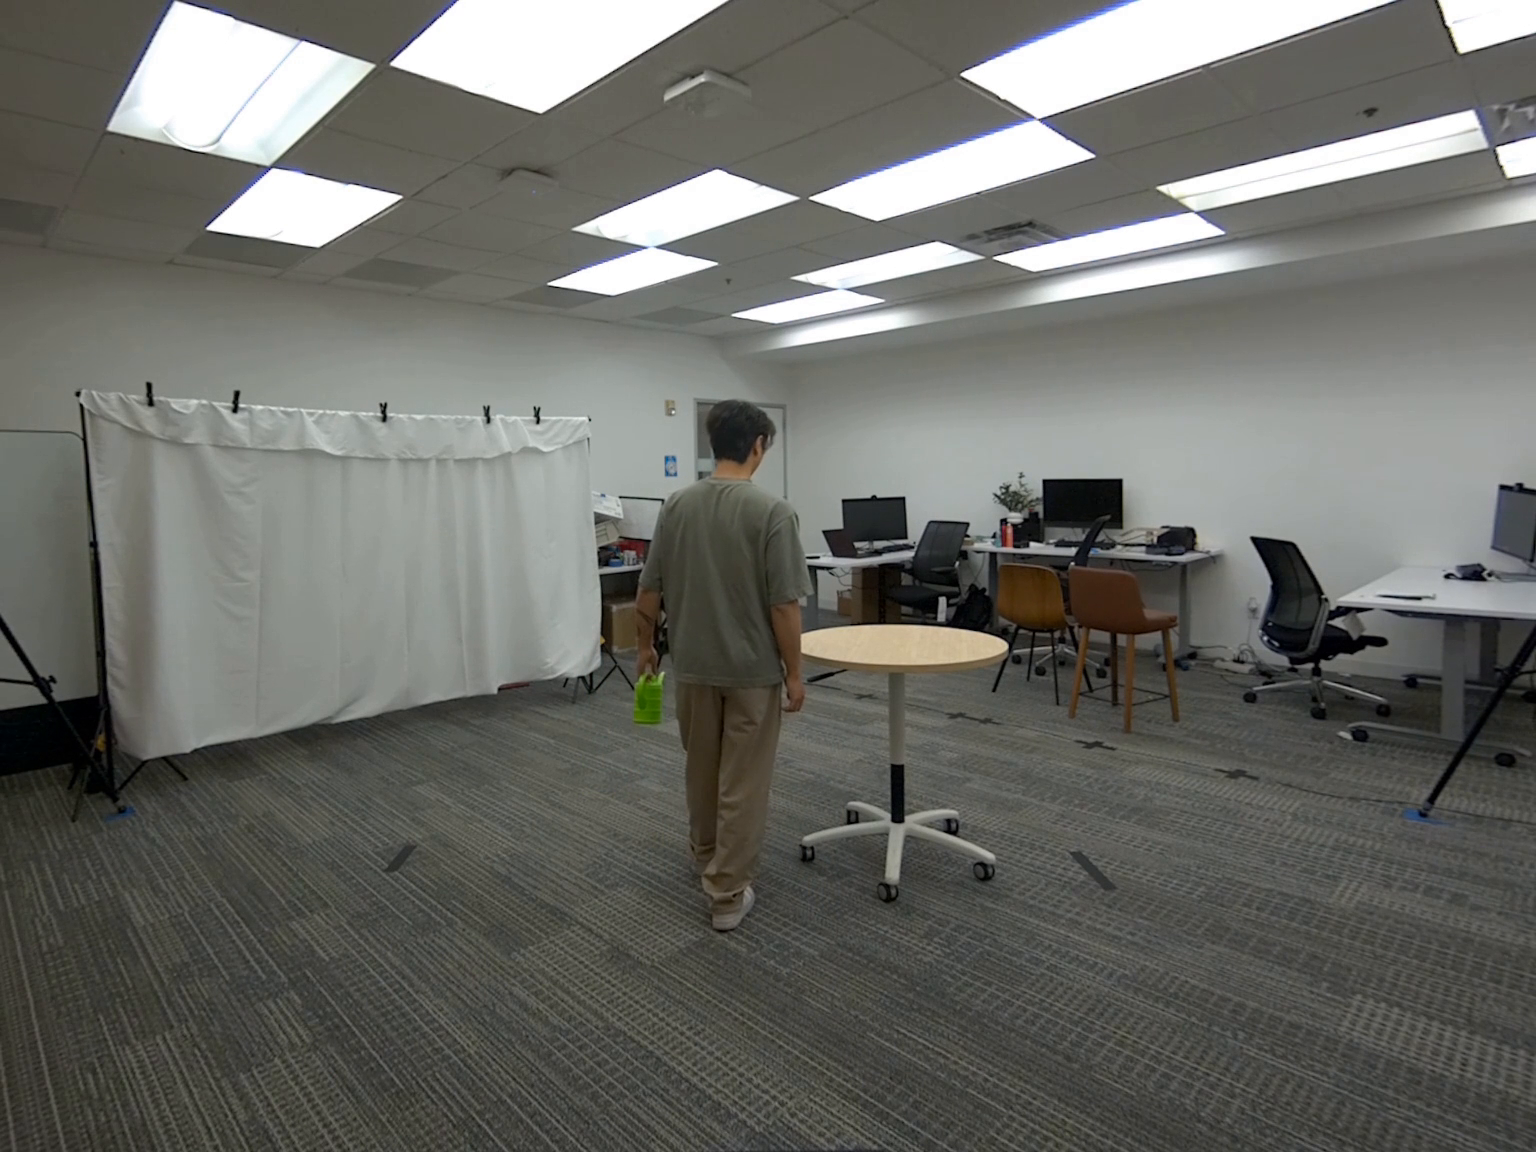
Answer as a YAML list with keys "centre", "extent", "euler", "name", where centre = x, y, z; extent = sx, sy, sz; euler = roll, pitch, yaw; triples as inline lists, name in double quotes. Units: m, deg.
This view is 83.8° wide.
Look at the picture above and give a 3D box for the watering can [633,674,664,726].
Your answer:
- centre: [-0.392, 0.427, 3.004]
  extent: [0.100, 0.178, 0.270]
  euler: [-3, -9, 21]
  name: "watering can"
